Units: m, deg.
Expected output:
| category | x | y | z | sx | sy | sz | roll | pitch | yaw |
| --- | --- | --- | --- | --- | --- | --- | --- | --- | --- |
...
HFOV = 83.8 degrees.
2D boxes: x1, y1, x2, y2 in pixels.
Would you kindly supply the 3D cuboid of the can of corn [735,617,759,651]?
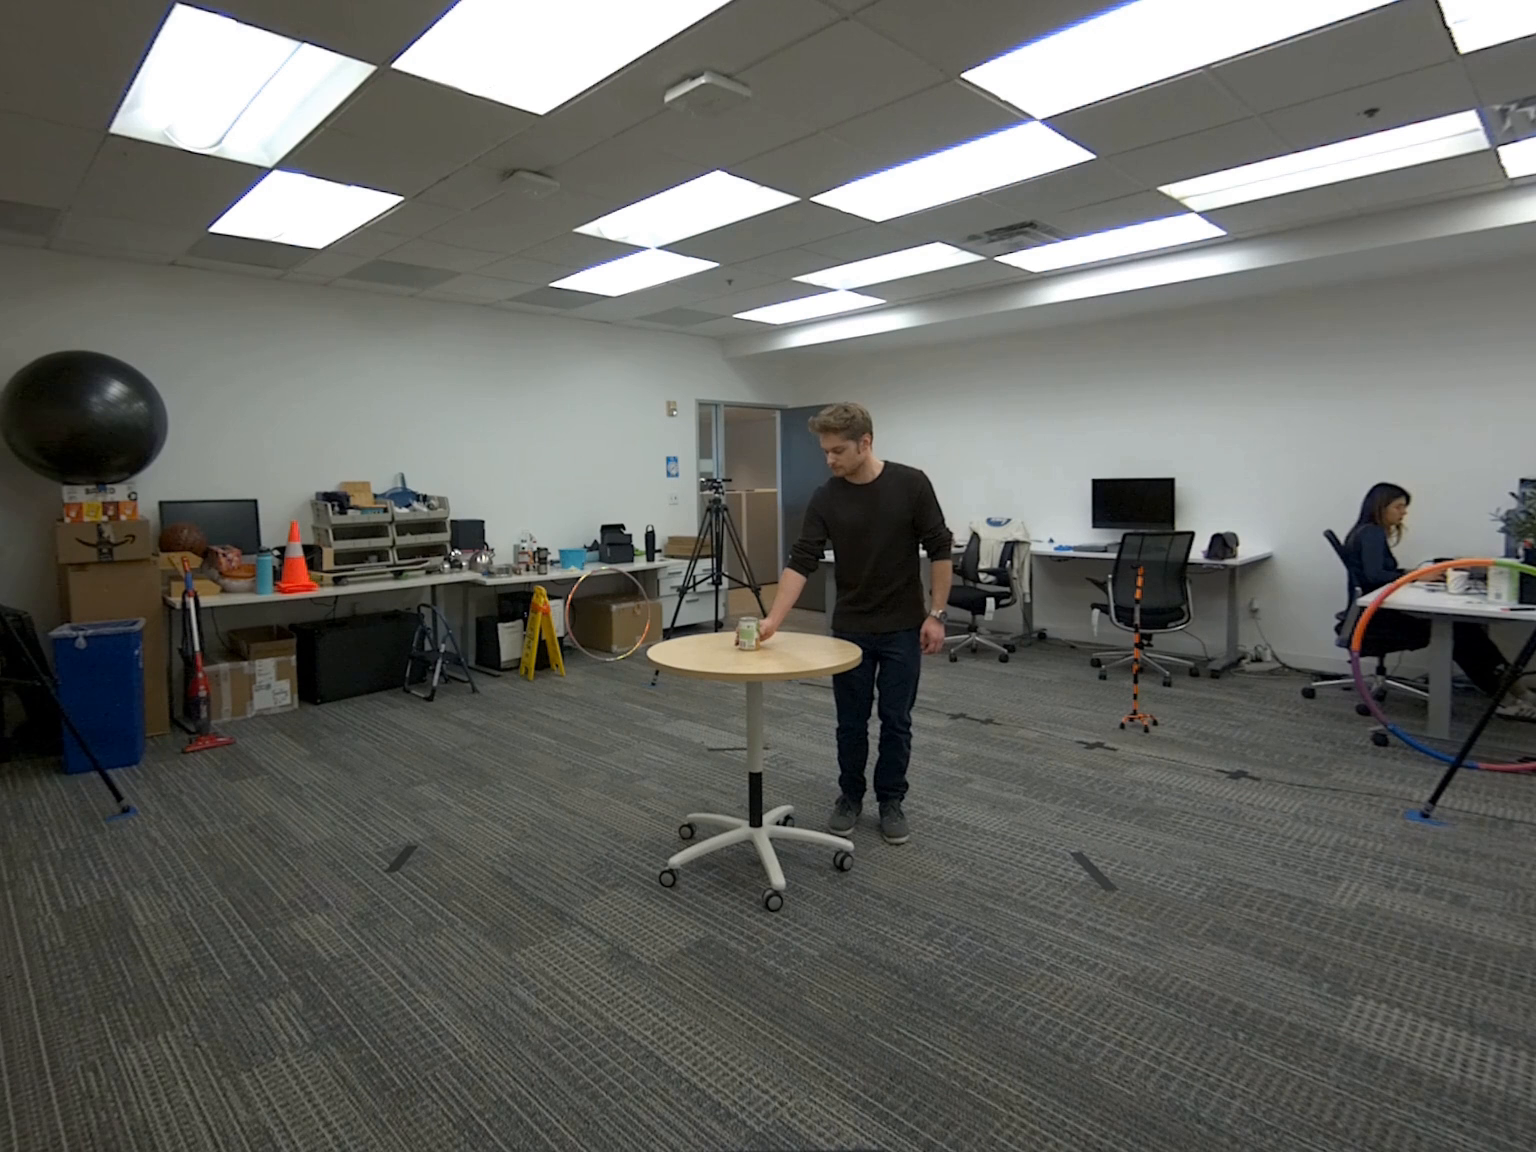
| category | x | y | z | sx | sy | sz | roll | pitch | yaw |
| --- | --- | --- | --- | --- | --- | --- | --- | --- | --- |
| can of corn | -0.068 | 0.210 | 3.063 | 0.074 | 0.111 | 0.074 | -1 | 3 | -2 |
